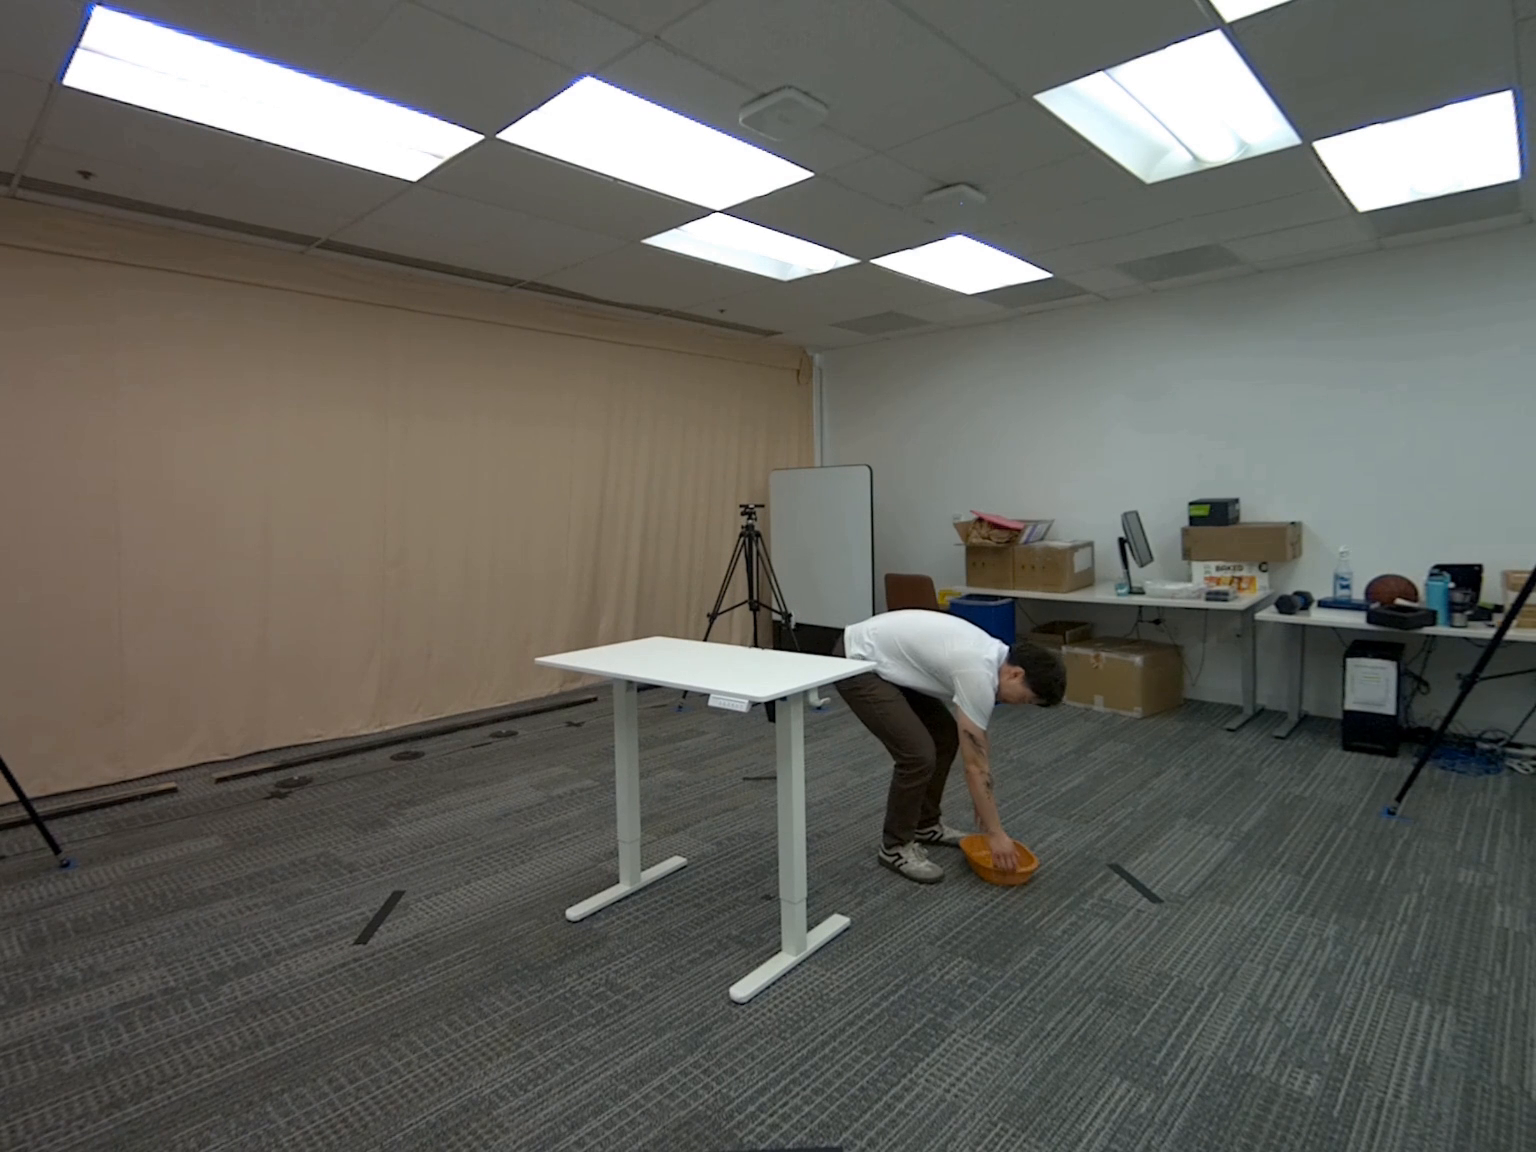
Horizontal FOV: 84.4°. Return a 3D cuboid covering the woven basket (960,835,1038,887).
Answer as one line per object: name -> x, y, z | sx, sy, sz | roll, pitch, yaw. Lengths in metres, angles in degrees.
woven basket -> 0.863, 1.065, 3.181 | 0.252, 0.073, 0.352 | -1, 4, -3
